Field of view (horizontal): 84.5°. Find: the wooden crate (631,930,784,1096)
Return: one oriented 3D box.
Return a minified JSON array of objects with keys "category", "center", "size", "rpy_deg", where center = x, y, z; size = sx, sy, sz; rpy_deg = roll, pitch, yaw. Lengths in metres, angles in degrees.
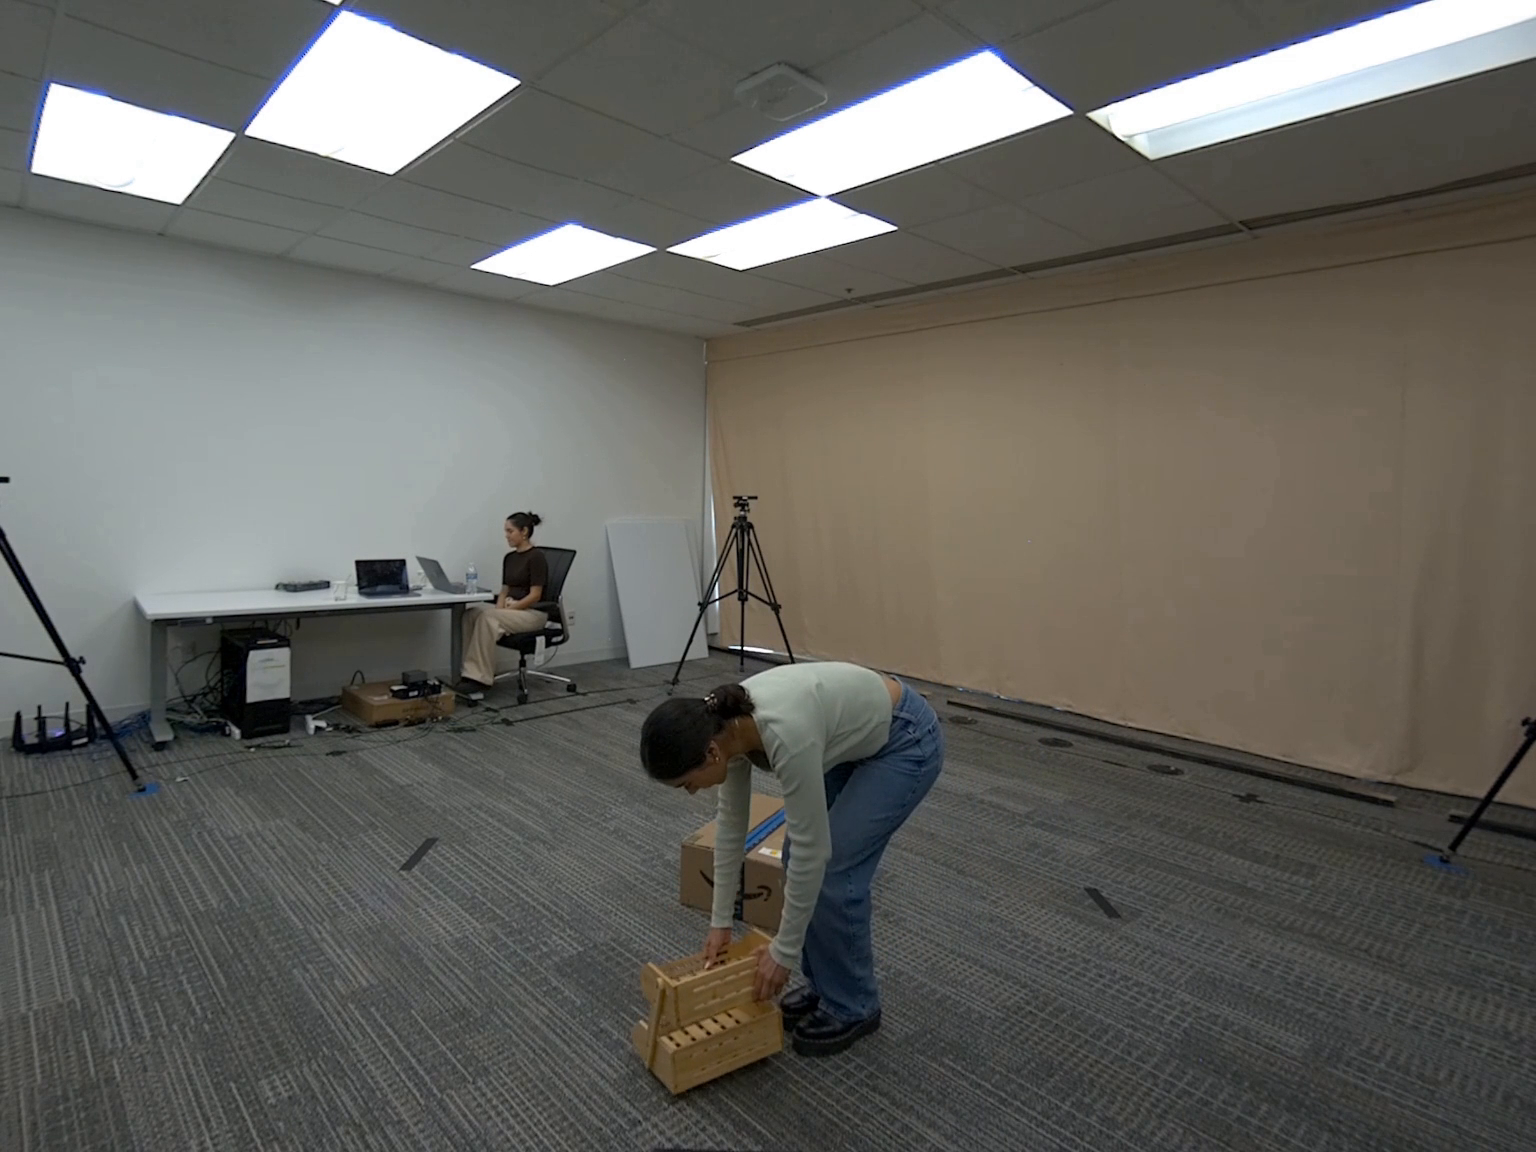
[{"category":"wooden crate","center":[-0.153,1.029,2.083],"size":[0.318,0.274,0.307],"rpy_deg":[-5,-1,-31]}]
